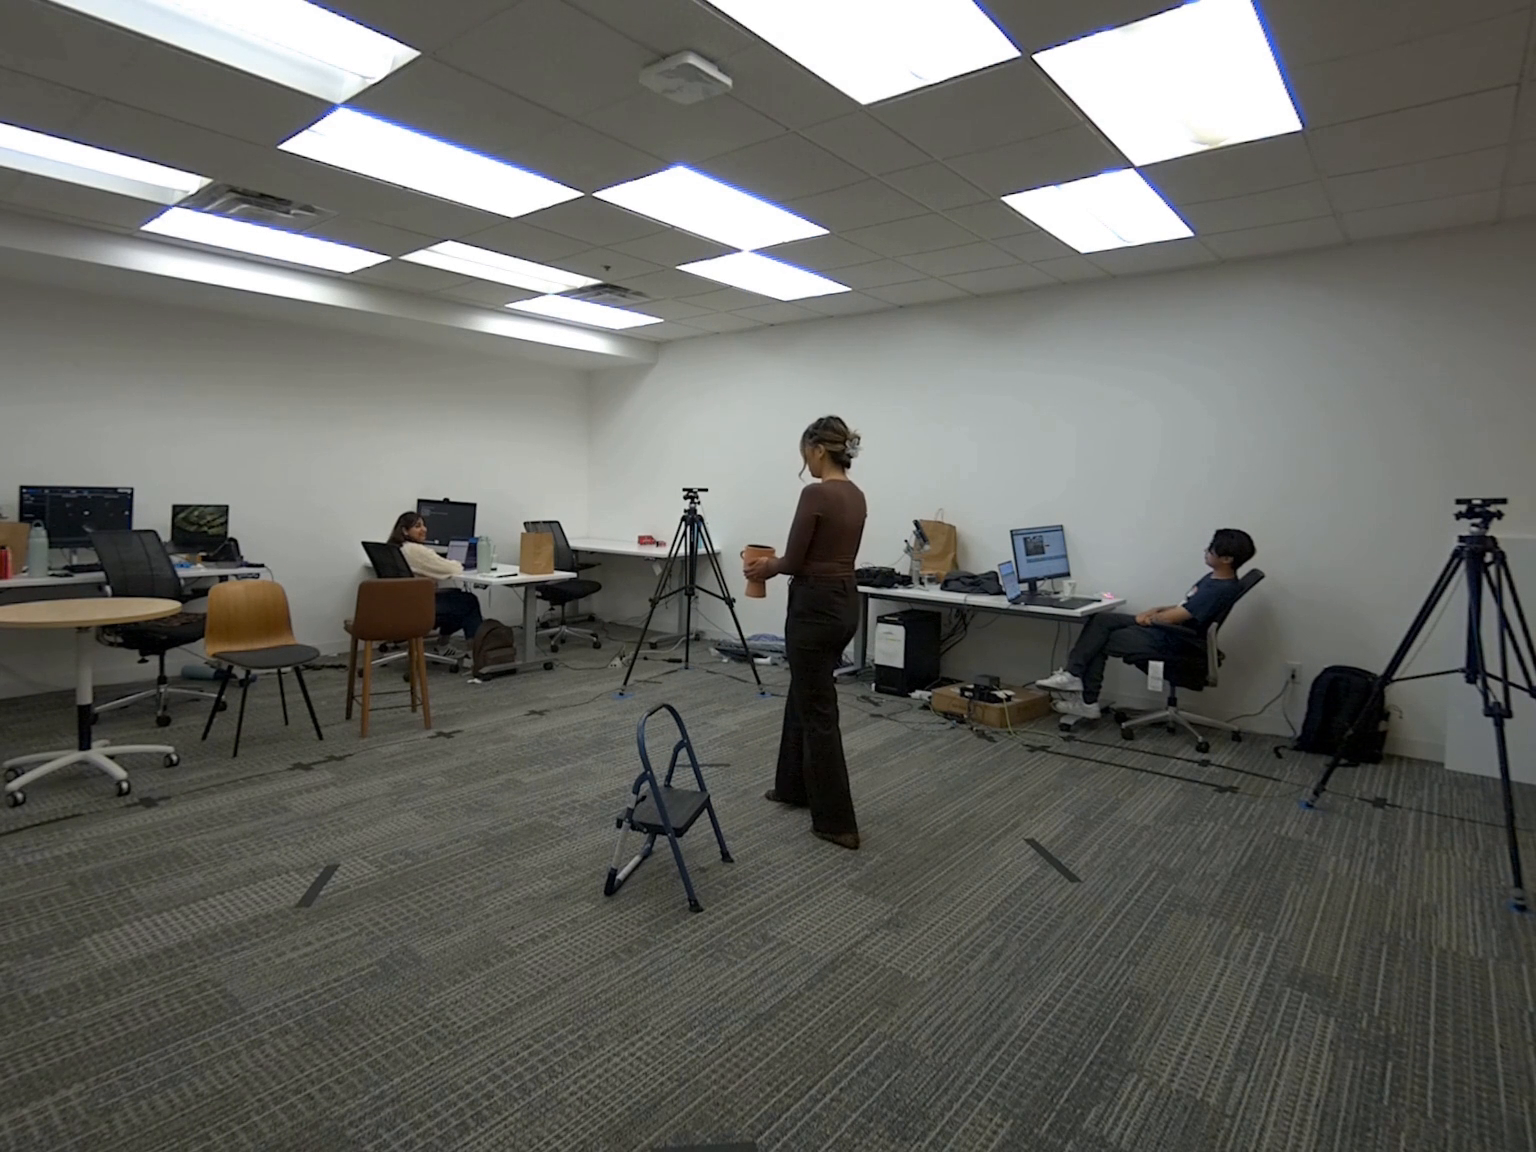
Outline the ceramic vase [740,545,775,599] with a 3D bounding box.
[{"bbox_3d":[-0.051,-0.028,3.767,0.132,0.218,0.163,2,9,-22],"label":"ceramic vase"}]
